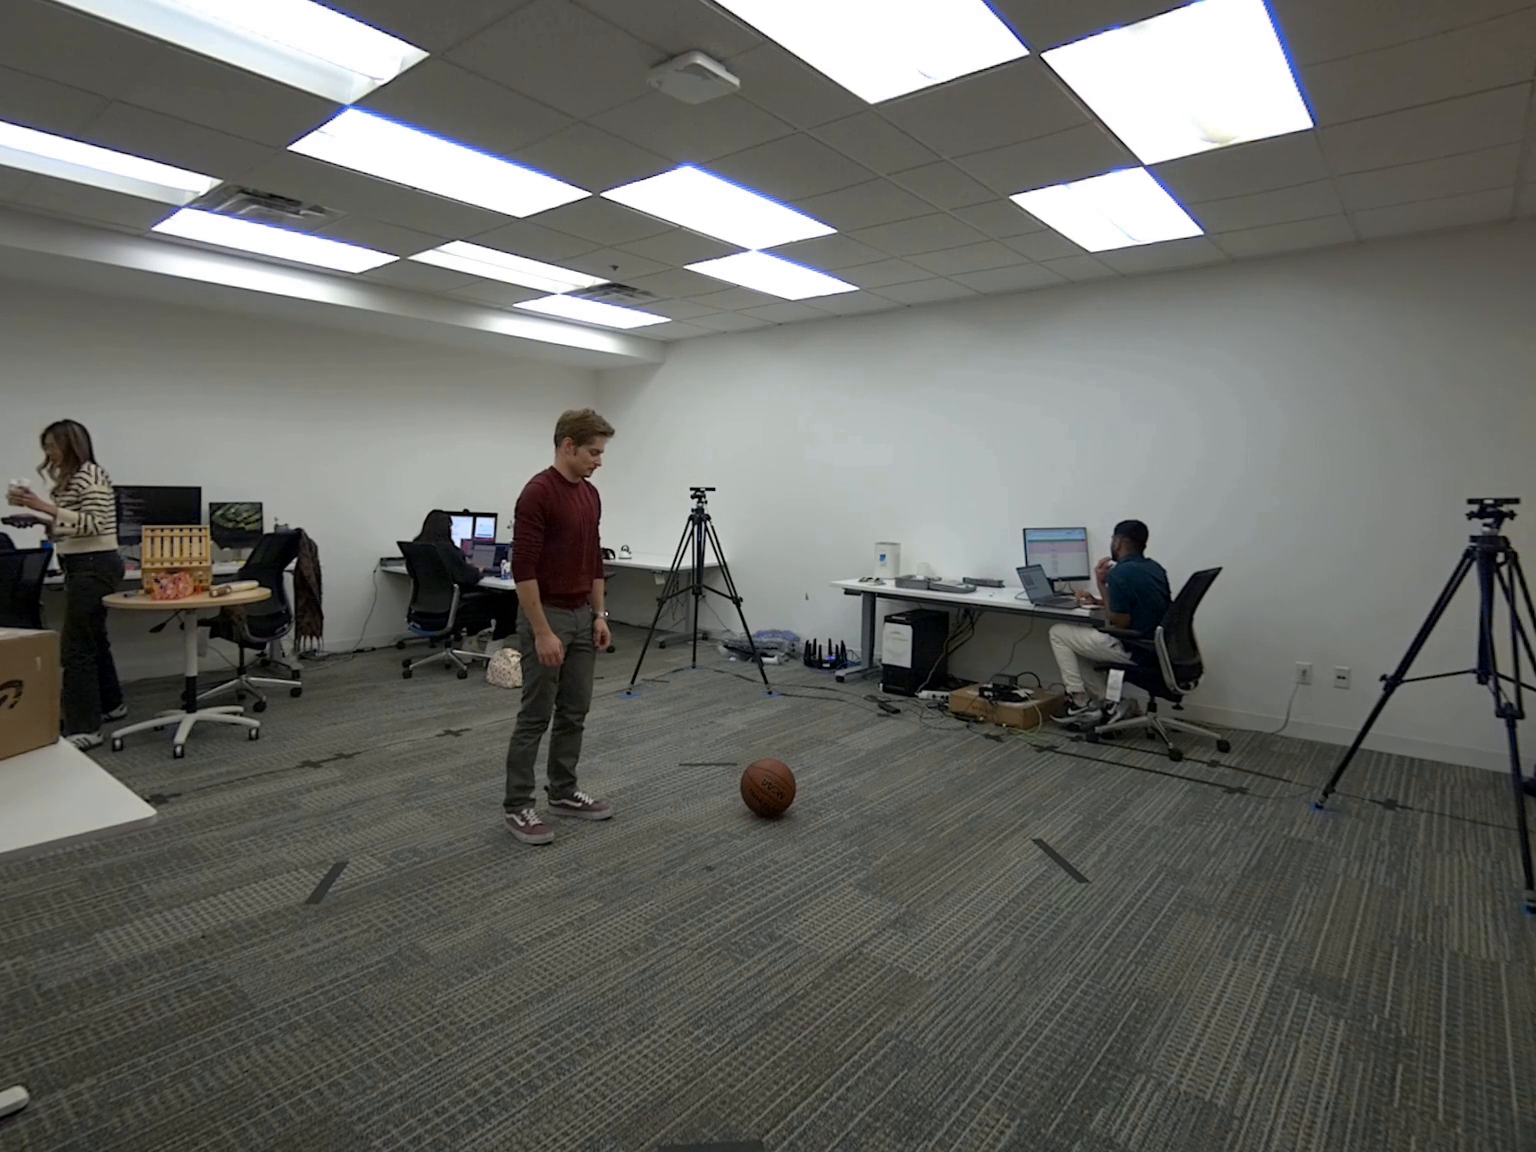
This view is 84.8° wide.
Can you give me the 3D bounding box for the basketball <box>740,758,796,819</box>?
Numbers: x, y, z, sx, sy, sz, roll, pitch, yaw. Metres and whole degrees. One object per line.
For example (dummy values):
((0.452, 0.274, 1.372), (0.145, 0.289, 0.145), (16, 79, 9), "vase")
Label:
((-0.003, 0.899, 3.641), (0.235, 0.235, 0.237), (1, 4, -2), "basketball")
